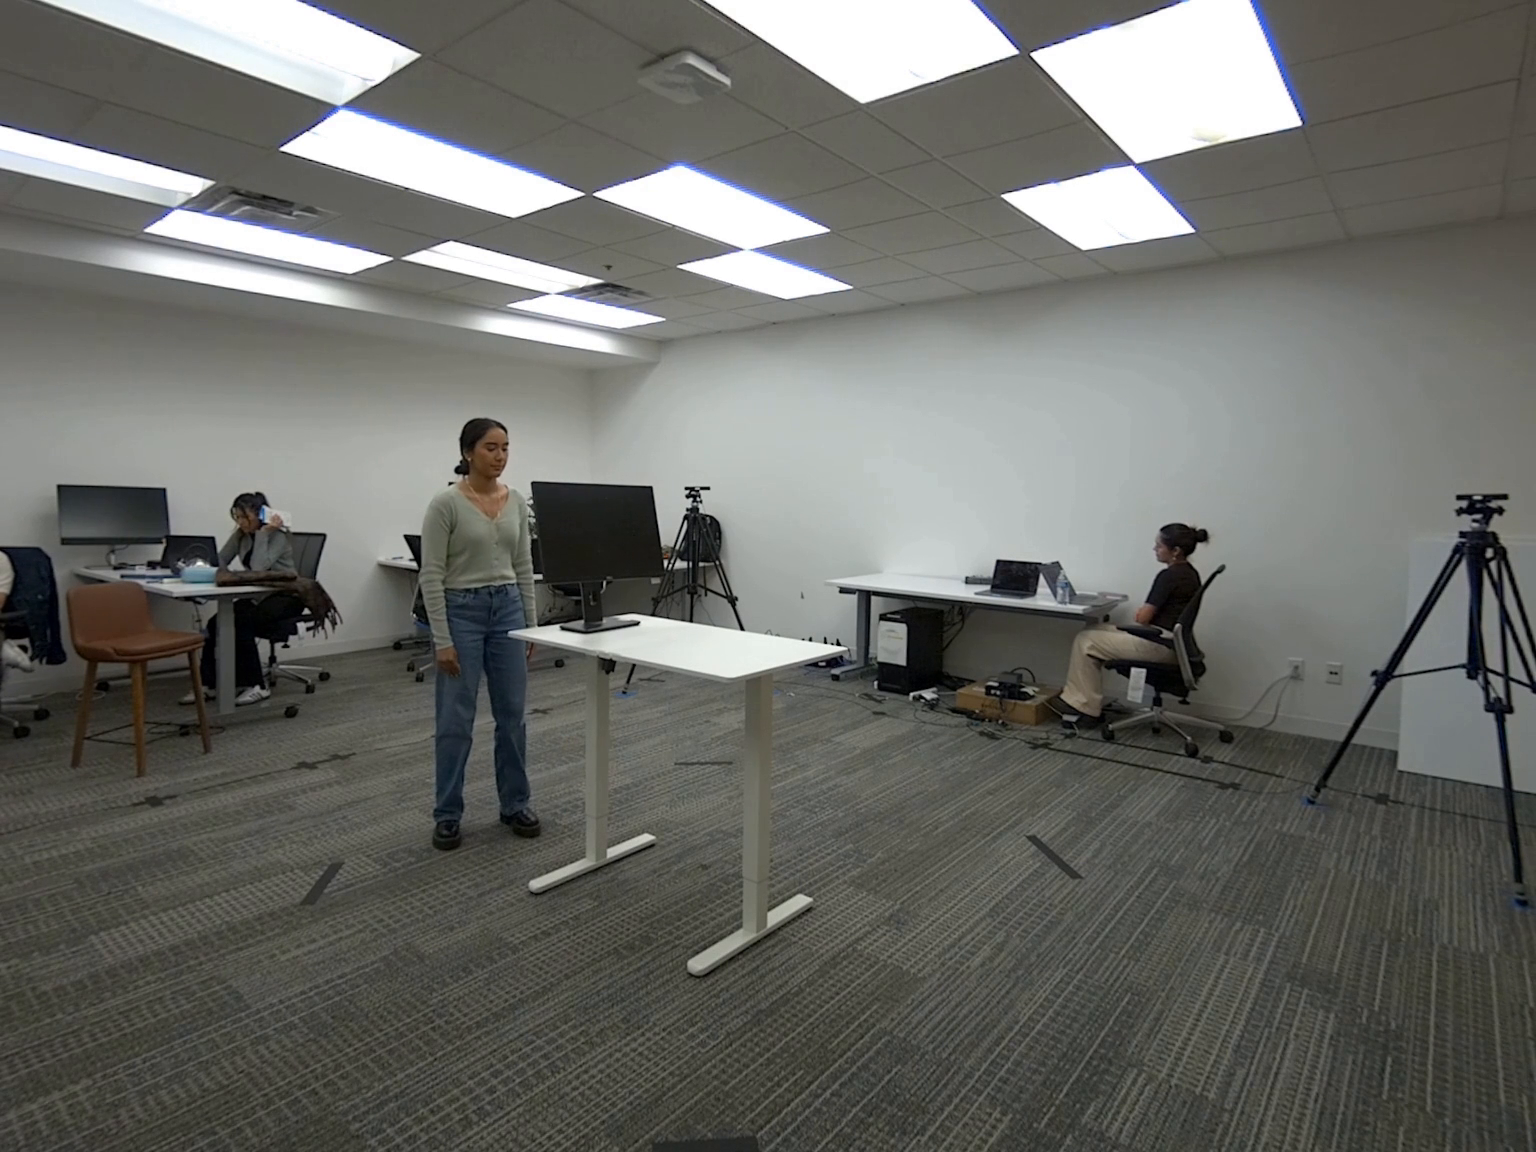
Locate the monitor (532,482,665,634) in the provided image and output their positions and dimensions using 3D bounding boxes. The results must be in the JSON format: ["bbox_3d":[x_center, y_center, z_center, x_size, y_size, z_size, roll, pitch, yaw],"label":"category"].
[{"bbox_3d":[-0.629,-0.070,3.048,0.193,0.522,0.523,1,3,40],"label":"monitor"}]
